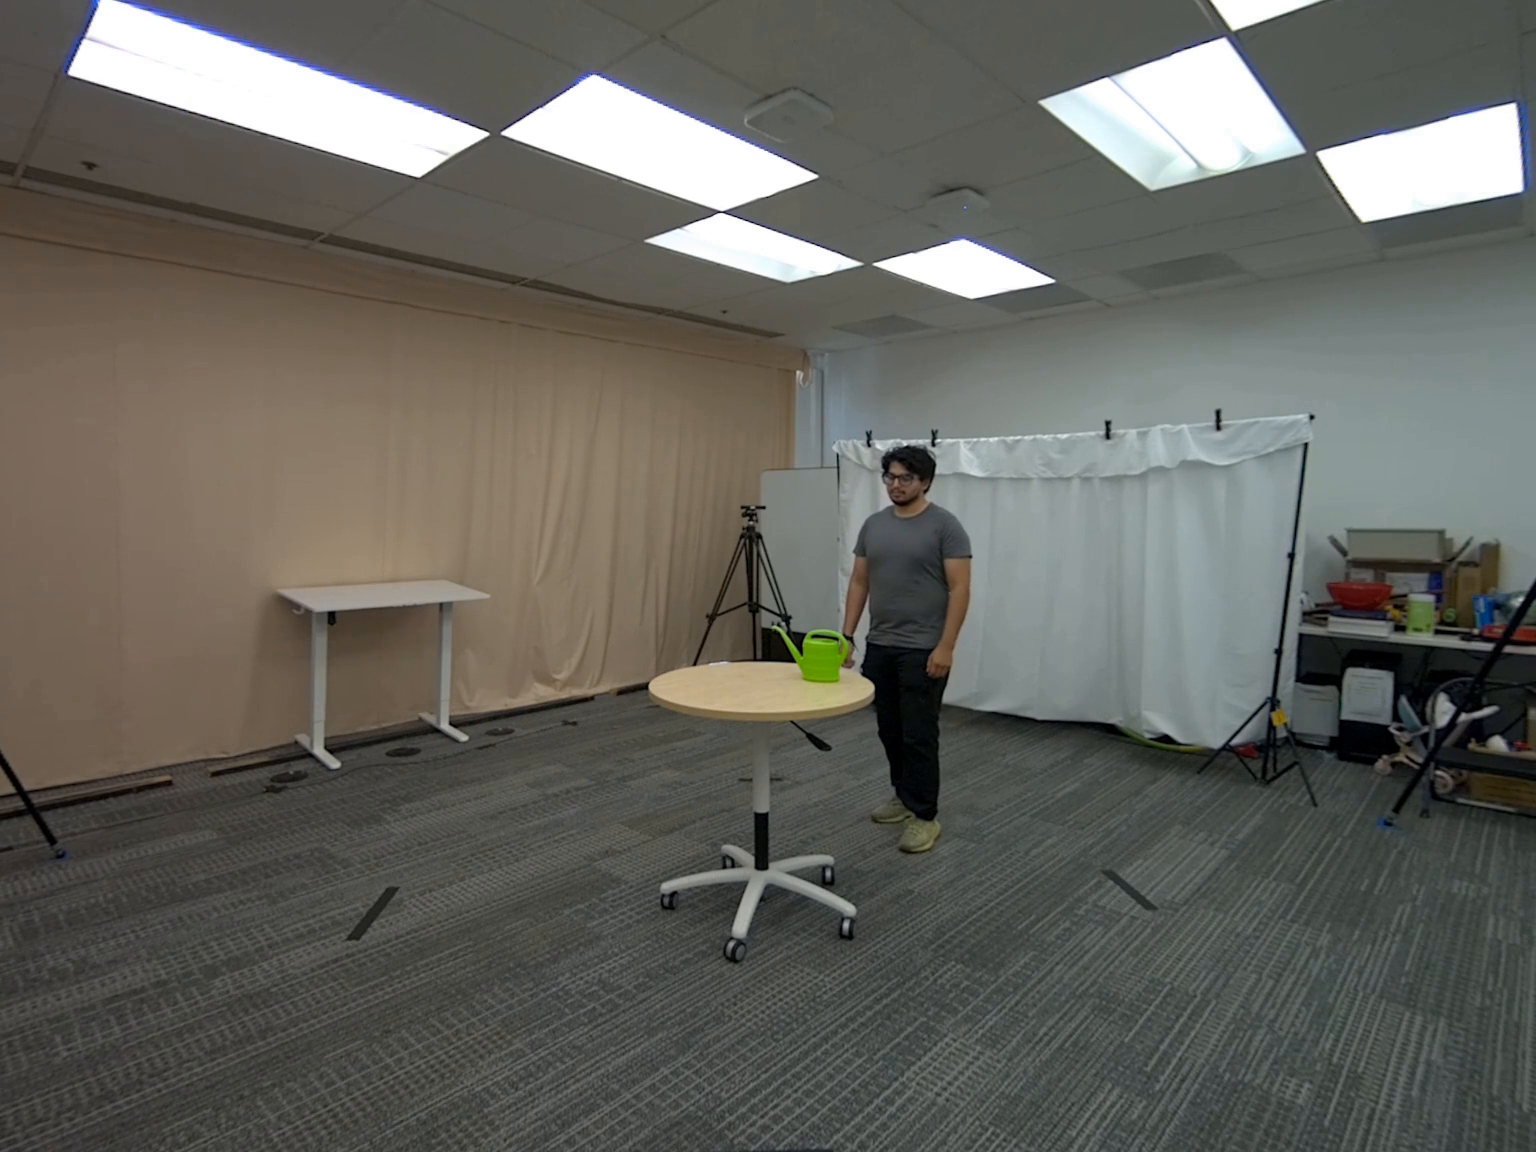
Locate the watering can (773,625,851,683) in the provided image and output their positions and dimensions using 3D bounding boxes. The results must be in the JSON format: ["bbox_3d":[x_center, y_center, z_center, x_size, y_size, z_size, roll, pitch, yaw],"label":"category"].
[{"bbox_3d":[0.155,0.273,2.963,0.287,0.176,0.095,5,4,34],"label":"watering can"}]
